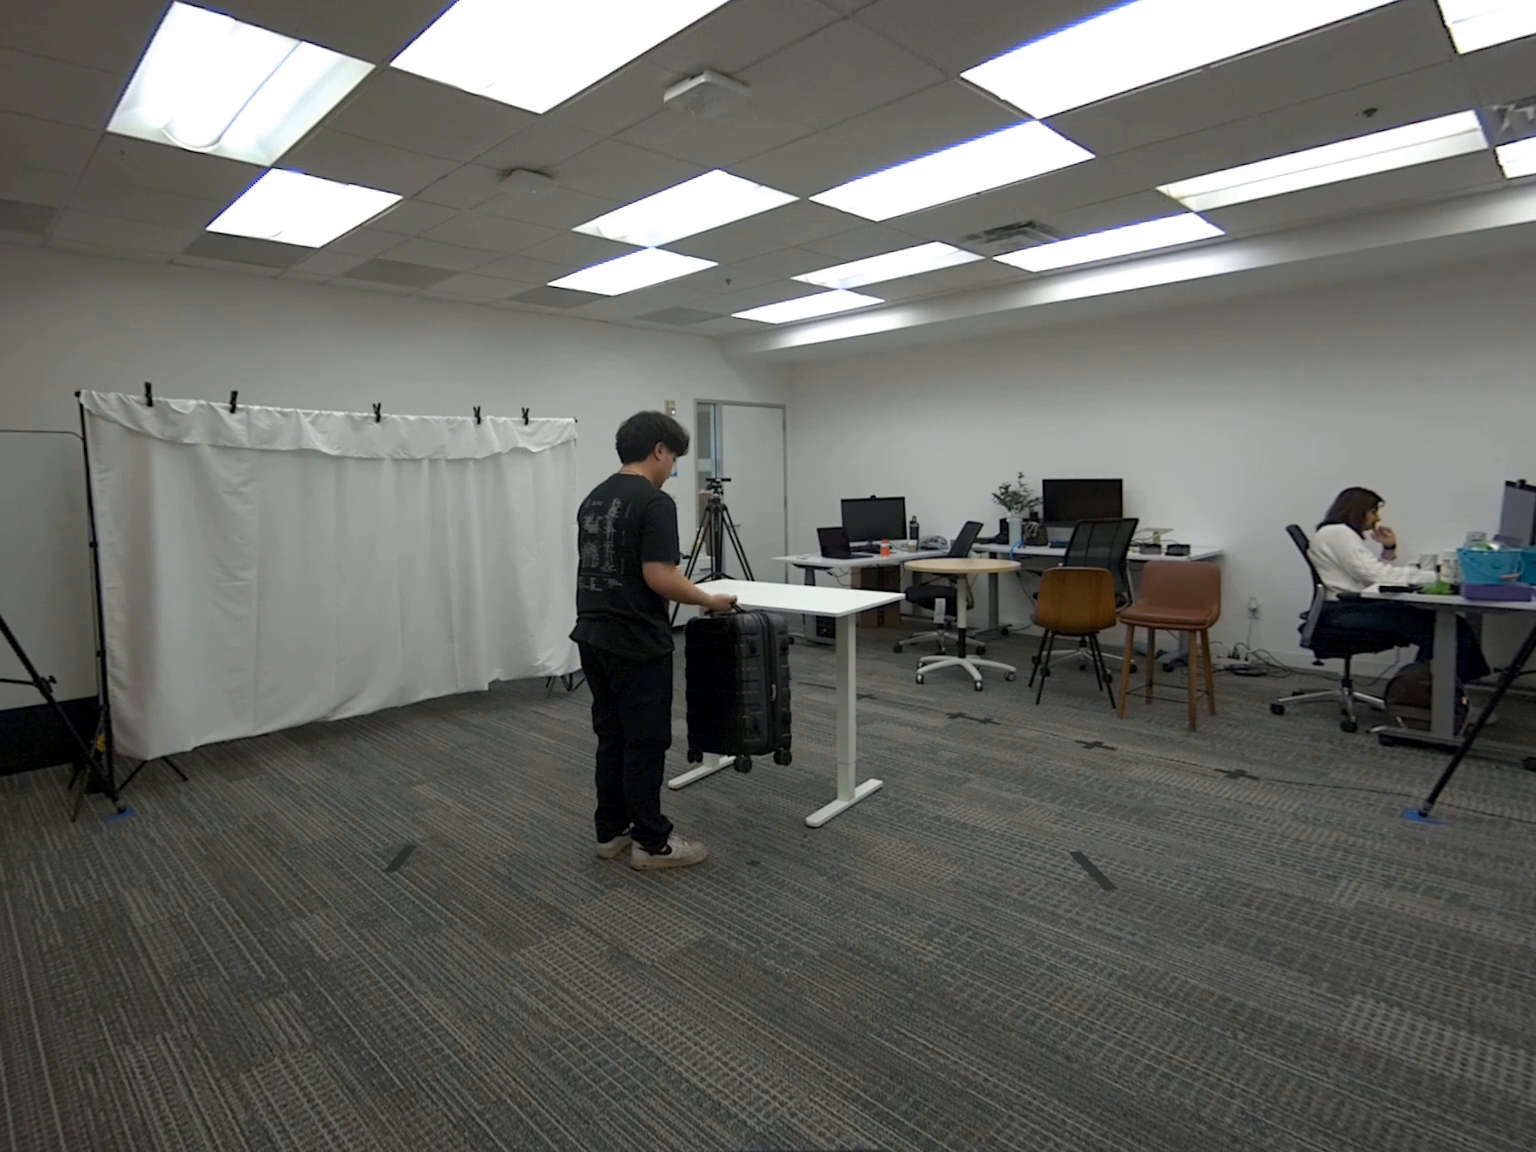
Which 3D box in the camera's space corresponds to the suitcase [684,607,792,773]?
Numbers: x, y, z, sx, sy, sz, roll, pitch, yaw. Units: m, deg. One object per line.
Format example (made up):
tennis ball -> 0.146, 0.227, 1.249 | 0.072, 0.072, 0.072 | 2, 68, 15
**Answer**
suitcase -> -0.120, 0.402, 3.106 | 0.241, 0.552, 0.385 | 3, -7, -40
